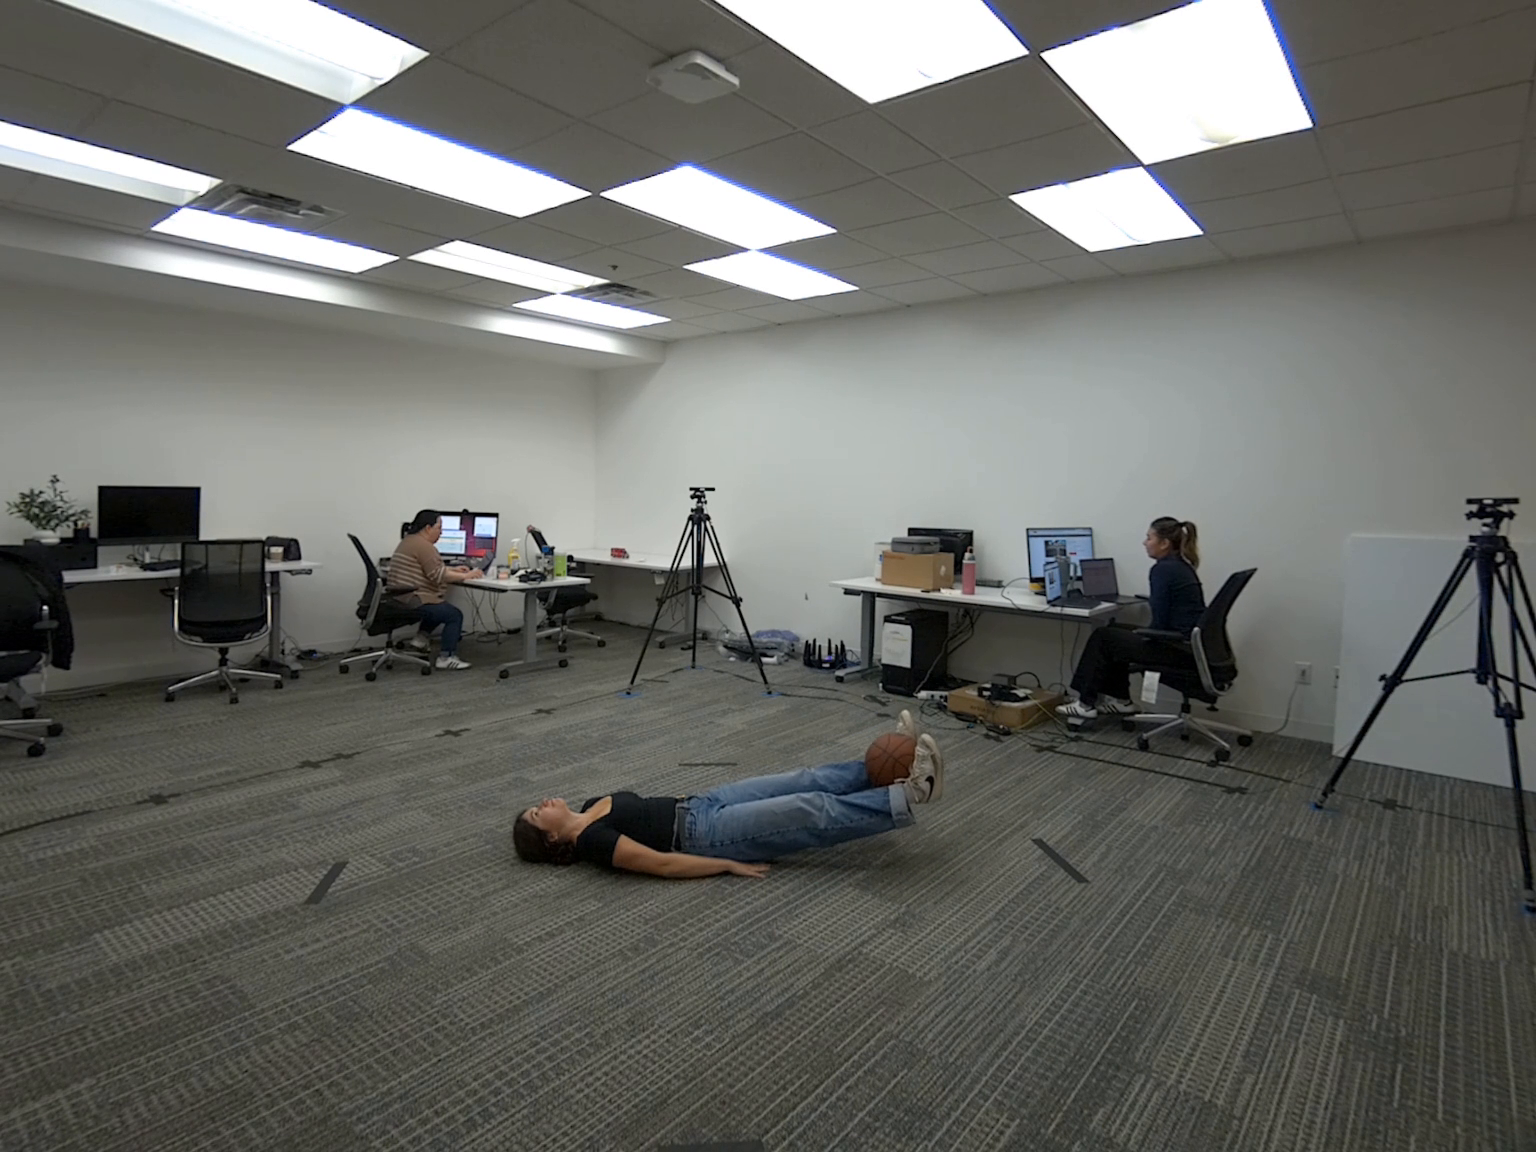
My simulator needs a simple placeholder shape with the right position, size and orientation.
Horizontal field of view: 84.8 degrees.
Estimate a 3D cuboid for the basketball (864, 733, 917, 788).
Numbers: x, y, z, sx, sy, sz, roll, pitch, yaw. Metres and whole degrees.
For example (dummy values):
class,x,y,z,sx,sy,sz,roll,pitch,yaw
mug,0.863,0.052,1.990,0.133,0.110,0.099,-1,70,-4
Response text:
class,x,y,z,sx,sy,sz,roll,pitch,yaw
basketball,0.488,0.724,3.306,0.235,0.235,0.237,1,4,-2
